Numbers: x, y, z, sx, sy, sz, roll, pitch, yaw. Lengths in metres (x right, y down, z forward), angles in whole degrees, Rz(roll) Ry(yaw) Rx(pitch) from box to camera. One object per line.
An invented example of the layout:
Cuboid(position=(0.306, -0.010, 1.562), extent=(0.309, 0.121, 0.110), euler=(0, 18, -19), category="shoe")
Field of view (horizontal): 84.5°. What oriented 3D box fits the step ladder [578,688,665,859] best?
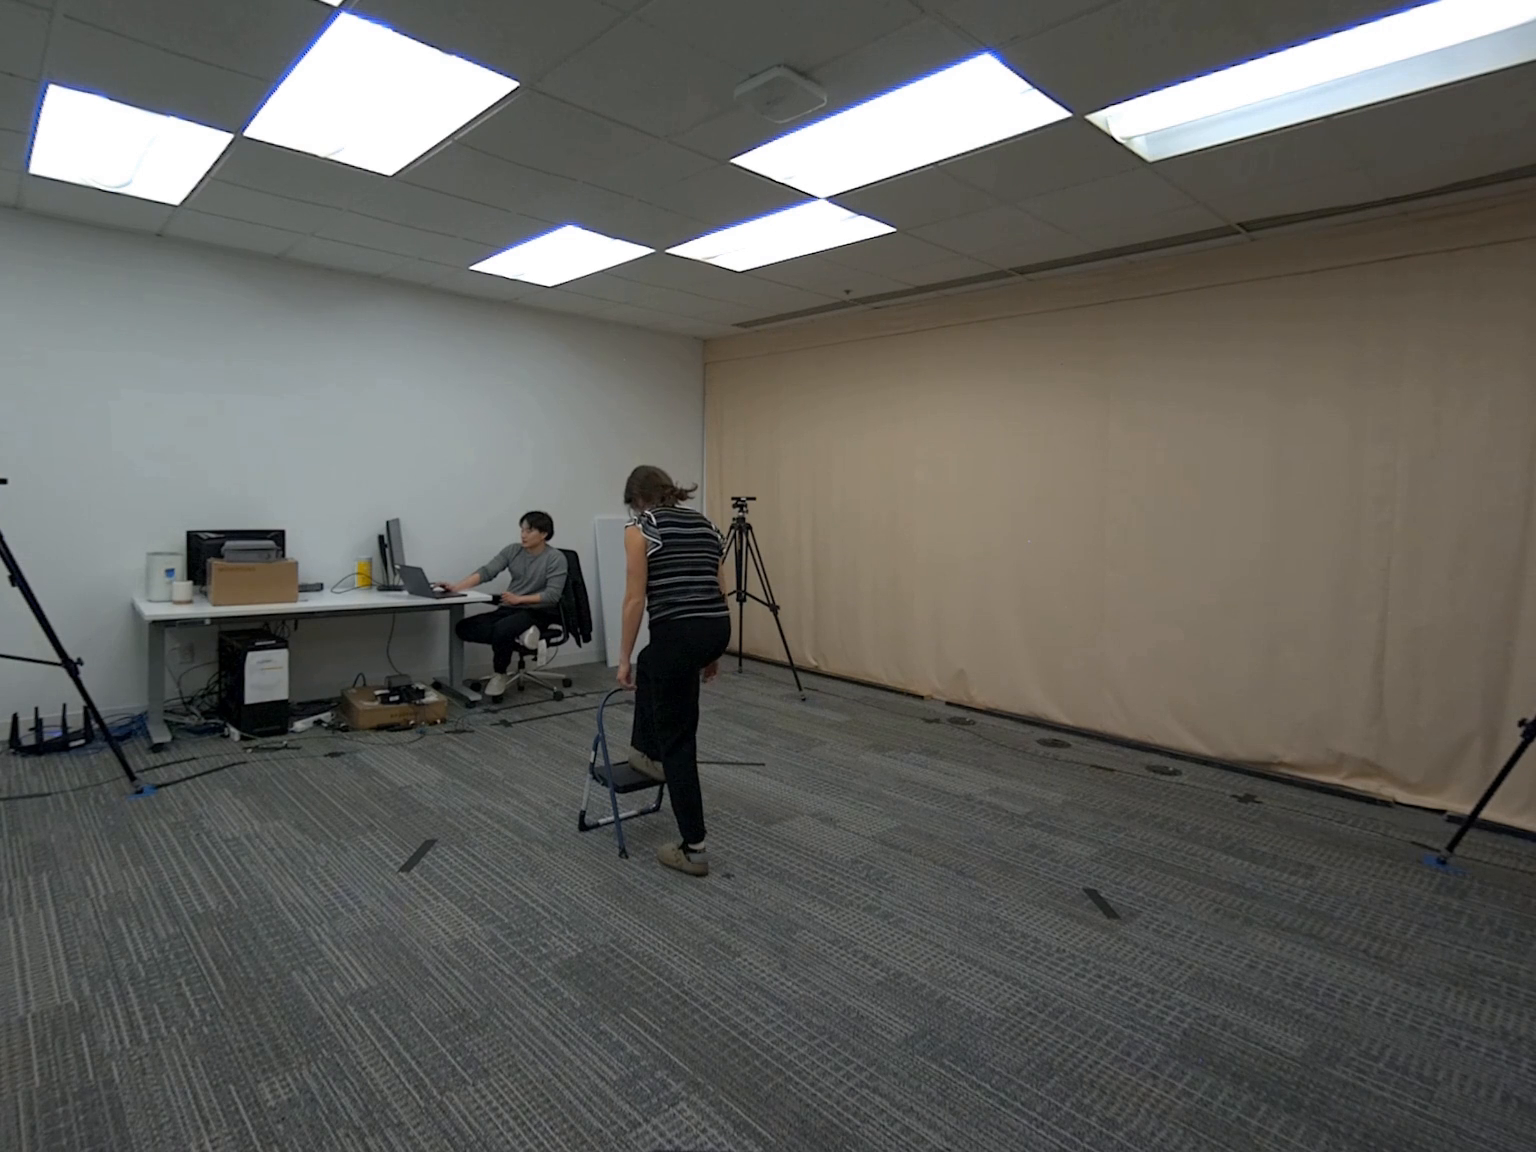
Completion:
Cuboid(position=(-0.524, 0.765, 3.489), extent=(0.421, 0.605, 0.358), euler=(-1, 4, -44), category="step ladder")
